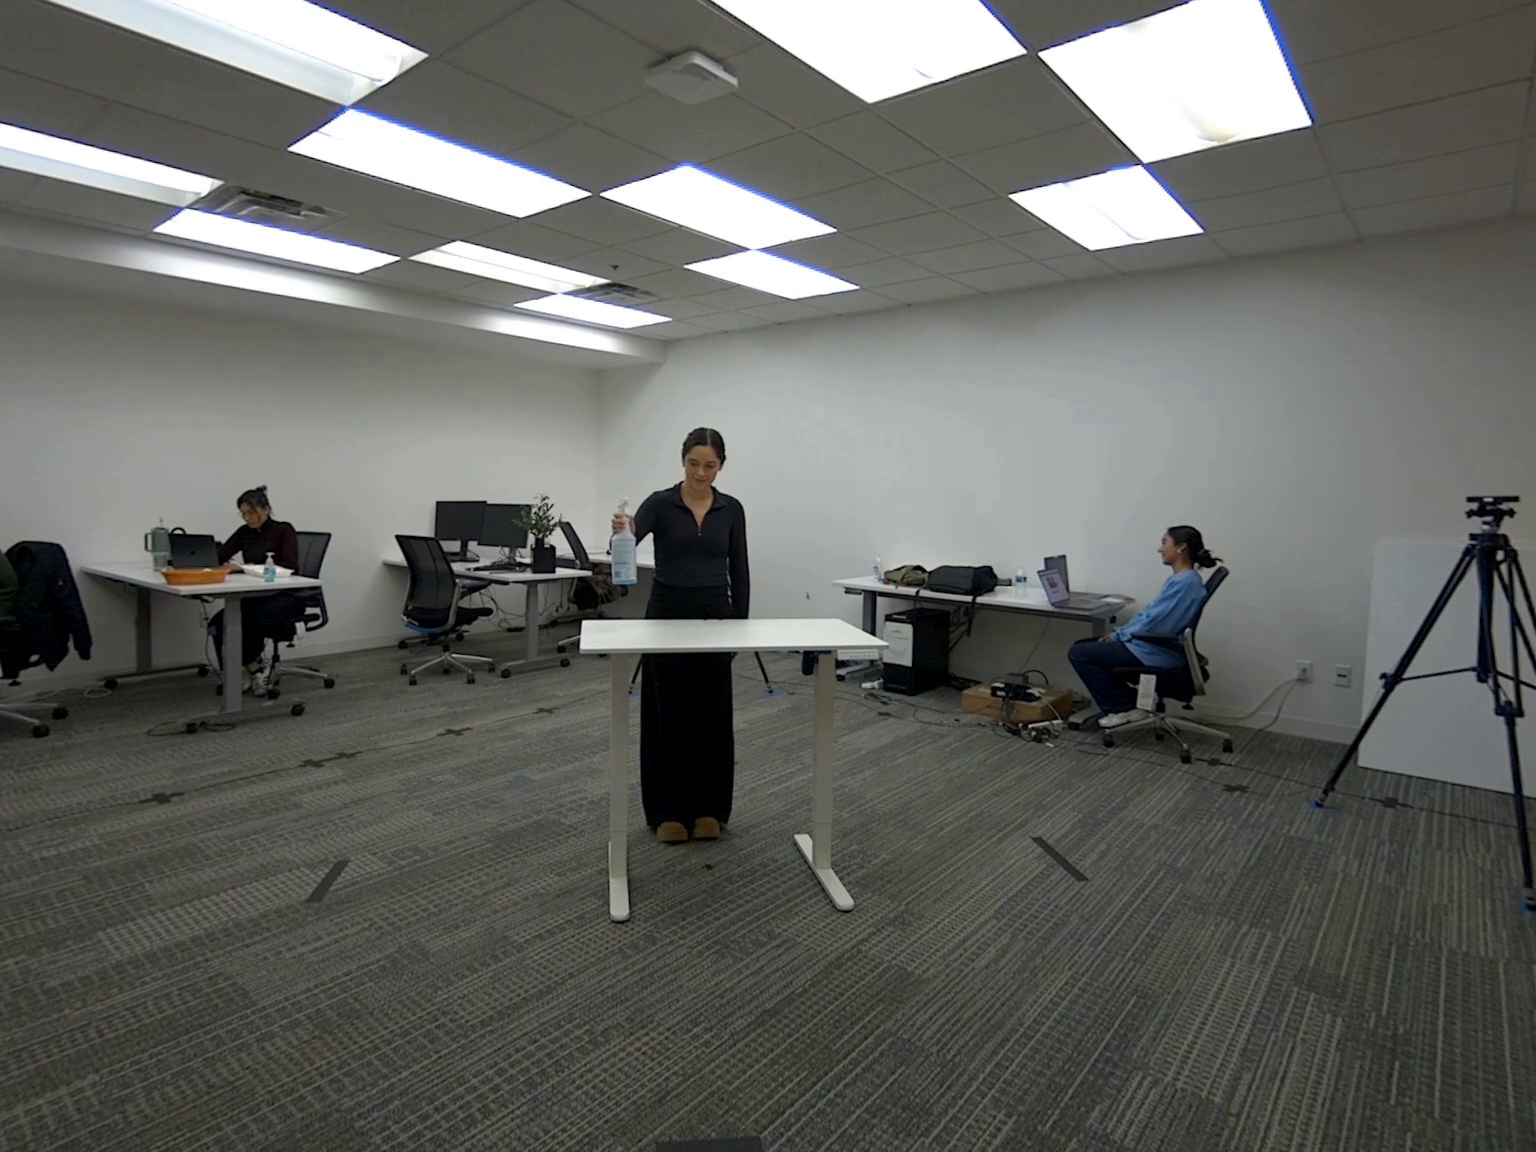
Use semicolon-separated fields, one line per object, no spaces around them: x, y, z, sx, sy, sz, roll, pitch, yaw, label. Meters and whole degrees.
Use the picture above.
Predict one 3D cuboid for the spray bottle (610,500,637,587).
-0.530;-0.120;2.952;0.087;0.297;0.090;-4;2;5;spray bottle
